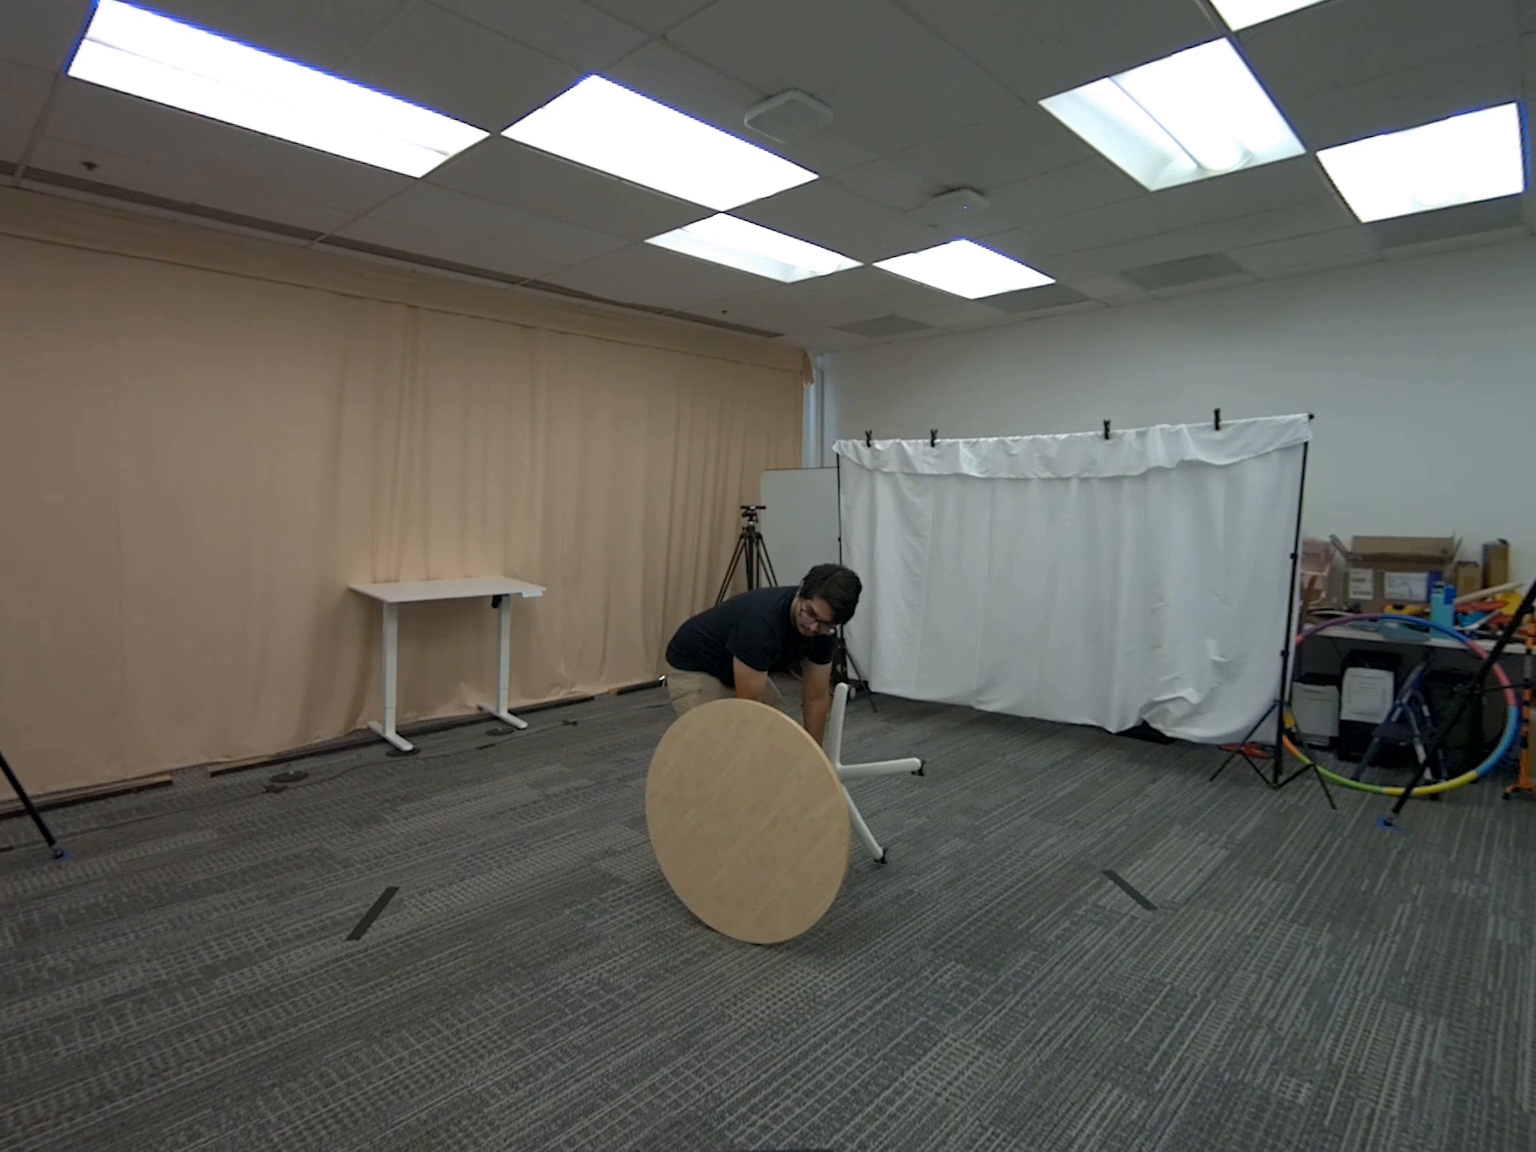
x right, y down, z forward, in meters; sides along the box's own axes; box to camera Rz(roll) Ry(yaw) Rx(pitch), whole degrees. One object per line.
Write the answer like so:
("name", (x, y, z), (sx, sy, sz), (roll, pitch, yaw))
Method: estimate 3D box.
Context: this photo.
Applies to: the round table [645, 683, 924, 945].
("round table", (0.113, 0.768, 3.032), (0.809, 0.784, 0.764), (2, 2, 32))
